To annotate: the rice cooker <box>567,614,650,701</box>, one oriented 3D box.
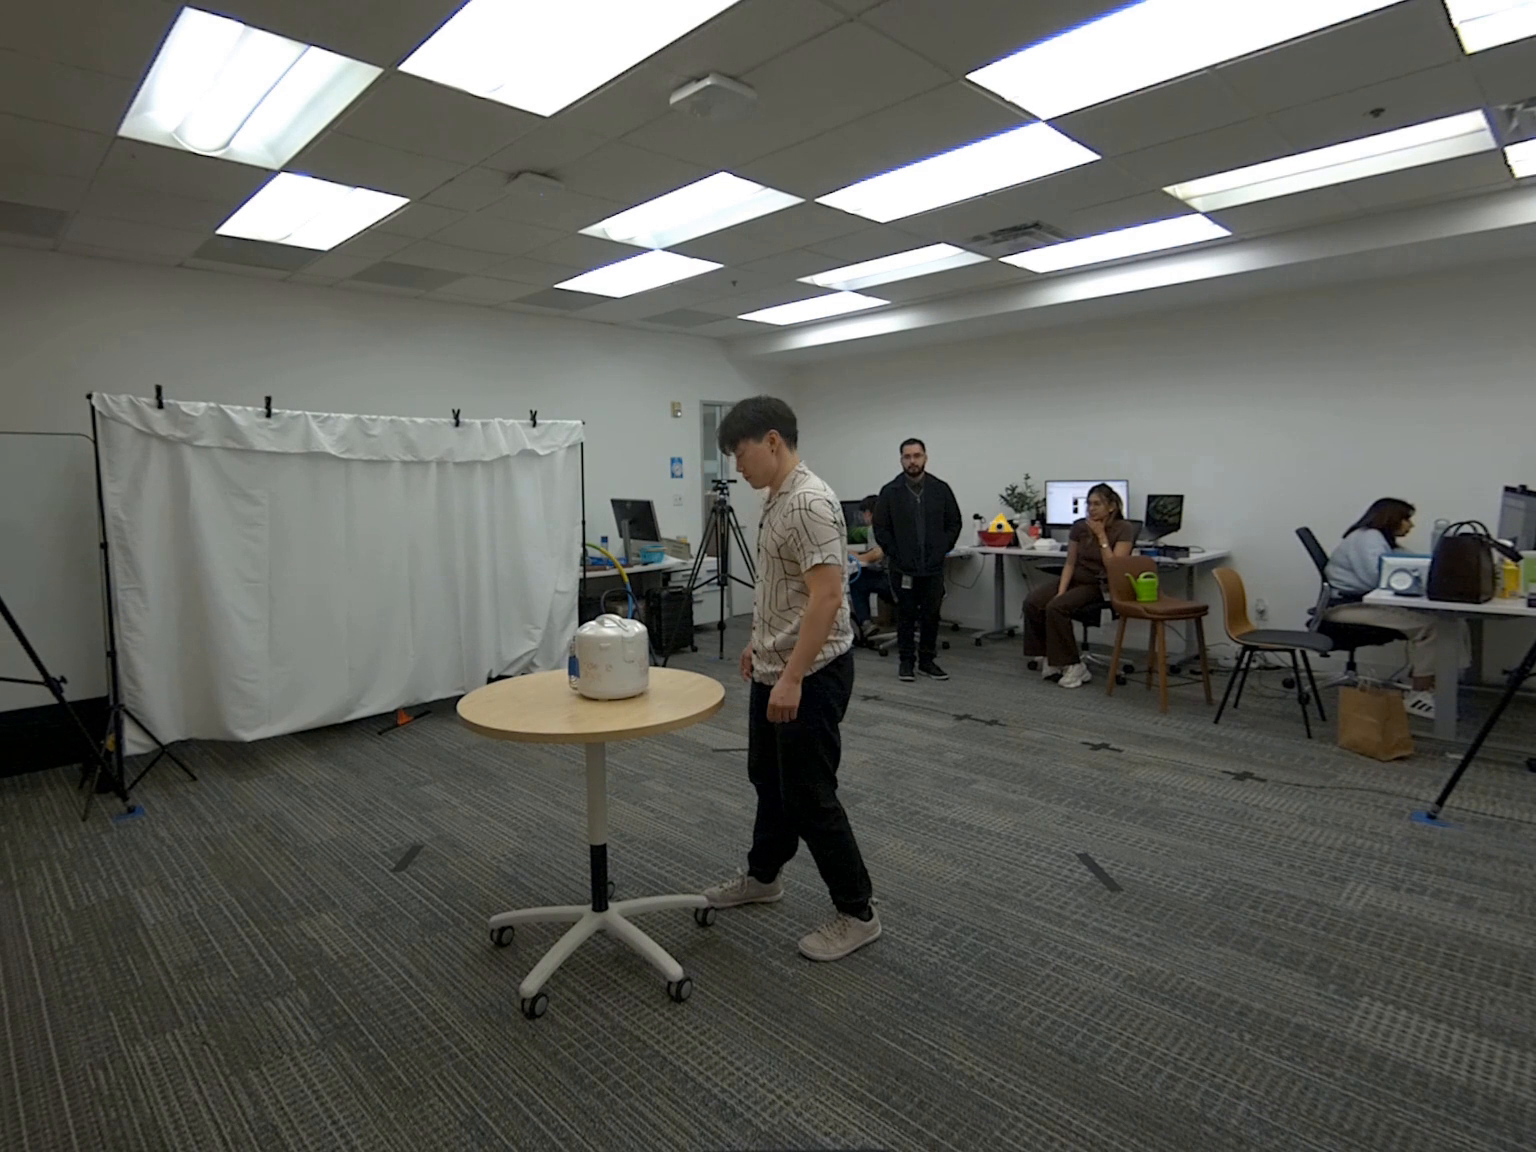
[{"bbox_3d":[-0.447,0.229,2.482,0.212,0.231,0.227,-7,8,-38],"label":"rice cooker"}]
